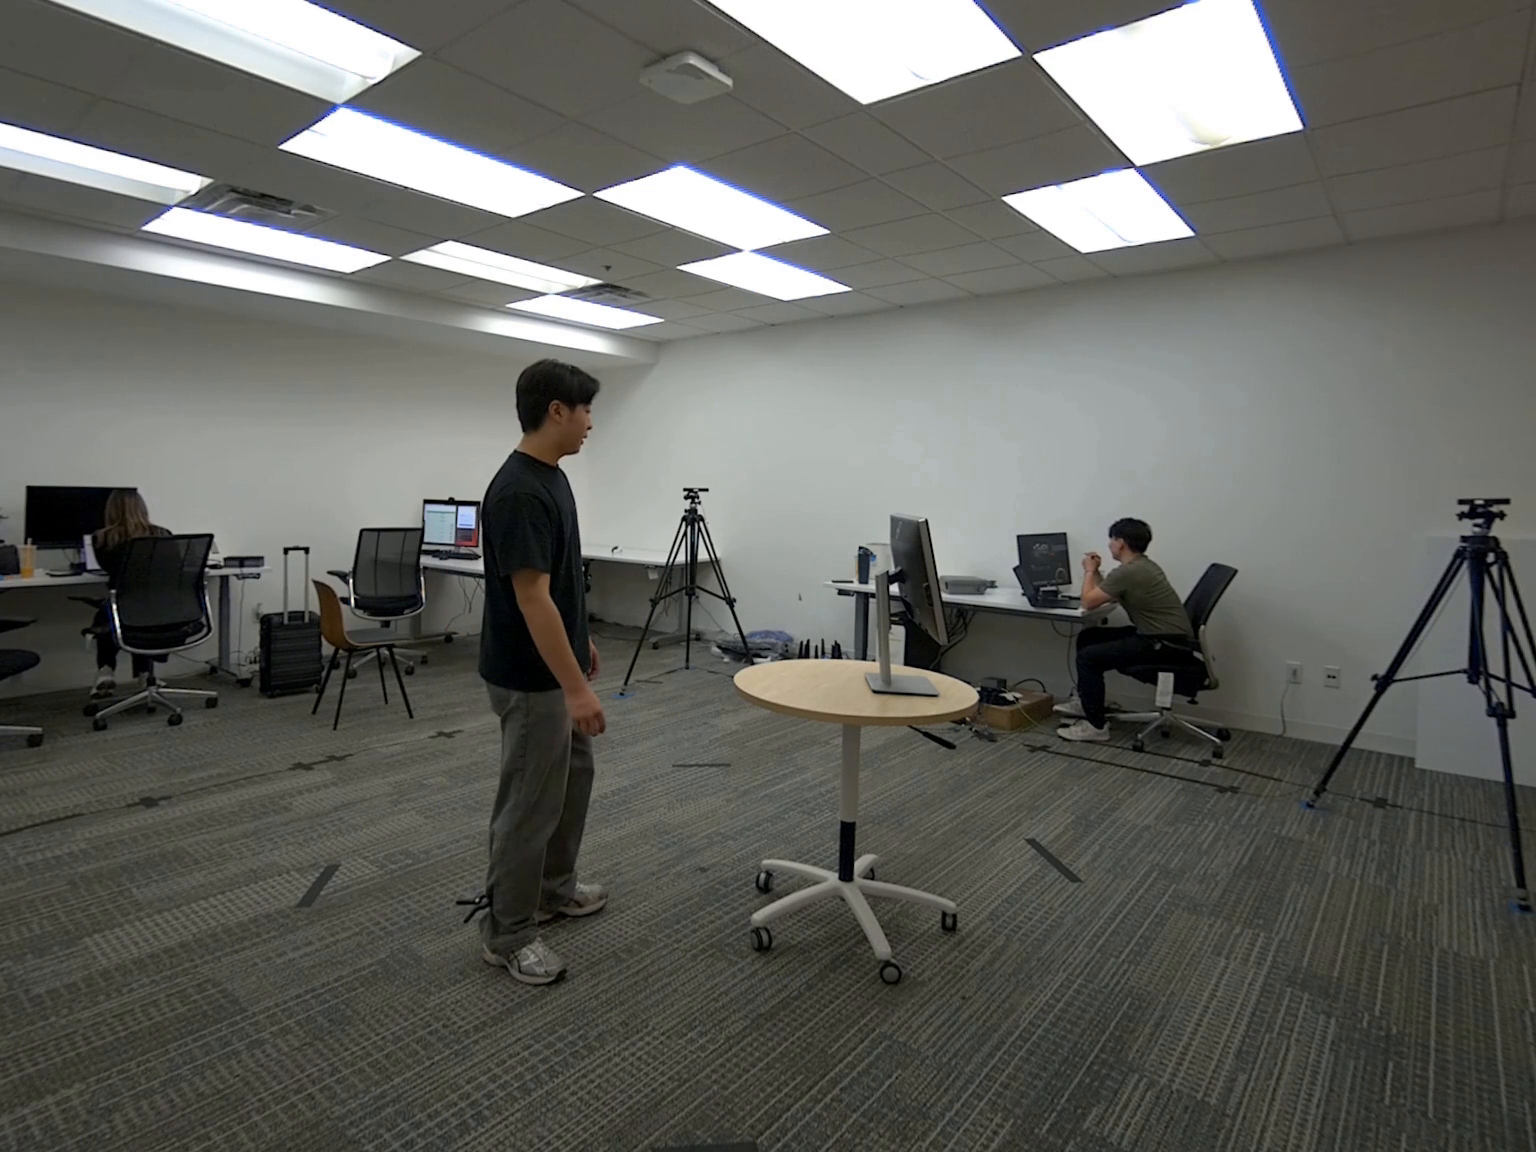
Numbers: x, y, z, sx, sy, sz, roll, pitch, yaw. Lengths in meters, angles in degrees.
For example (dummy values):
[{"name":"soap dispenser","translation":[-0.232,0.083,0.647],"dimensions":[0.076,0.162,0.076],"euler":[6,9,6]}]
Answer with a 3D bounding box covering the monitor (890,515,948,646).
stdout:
[{"name":"monitor","translation":[0.434,0.091,2.689],"dimensions":[0.223,0.564,0.561],"euler":[5,5,2]}]
